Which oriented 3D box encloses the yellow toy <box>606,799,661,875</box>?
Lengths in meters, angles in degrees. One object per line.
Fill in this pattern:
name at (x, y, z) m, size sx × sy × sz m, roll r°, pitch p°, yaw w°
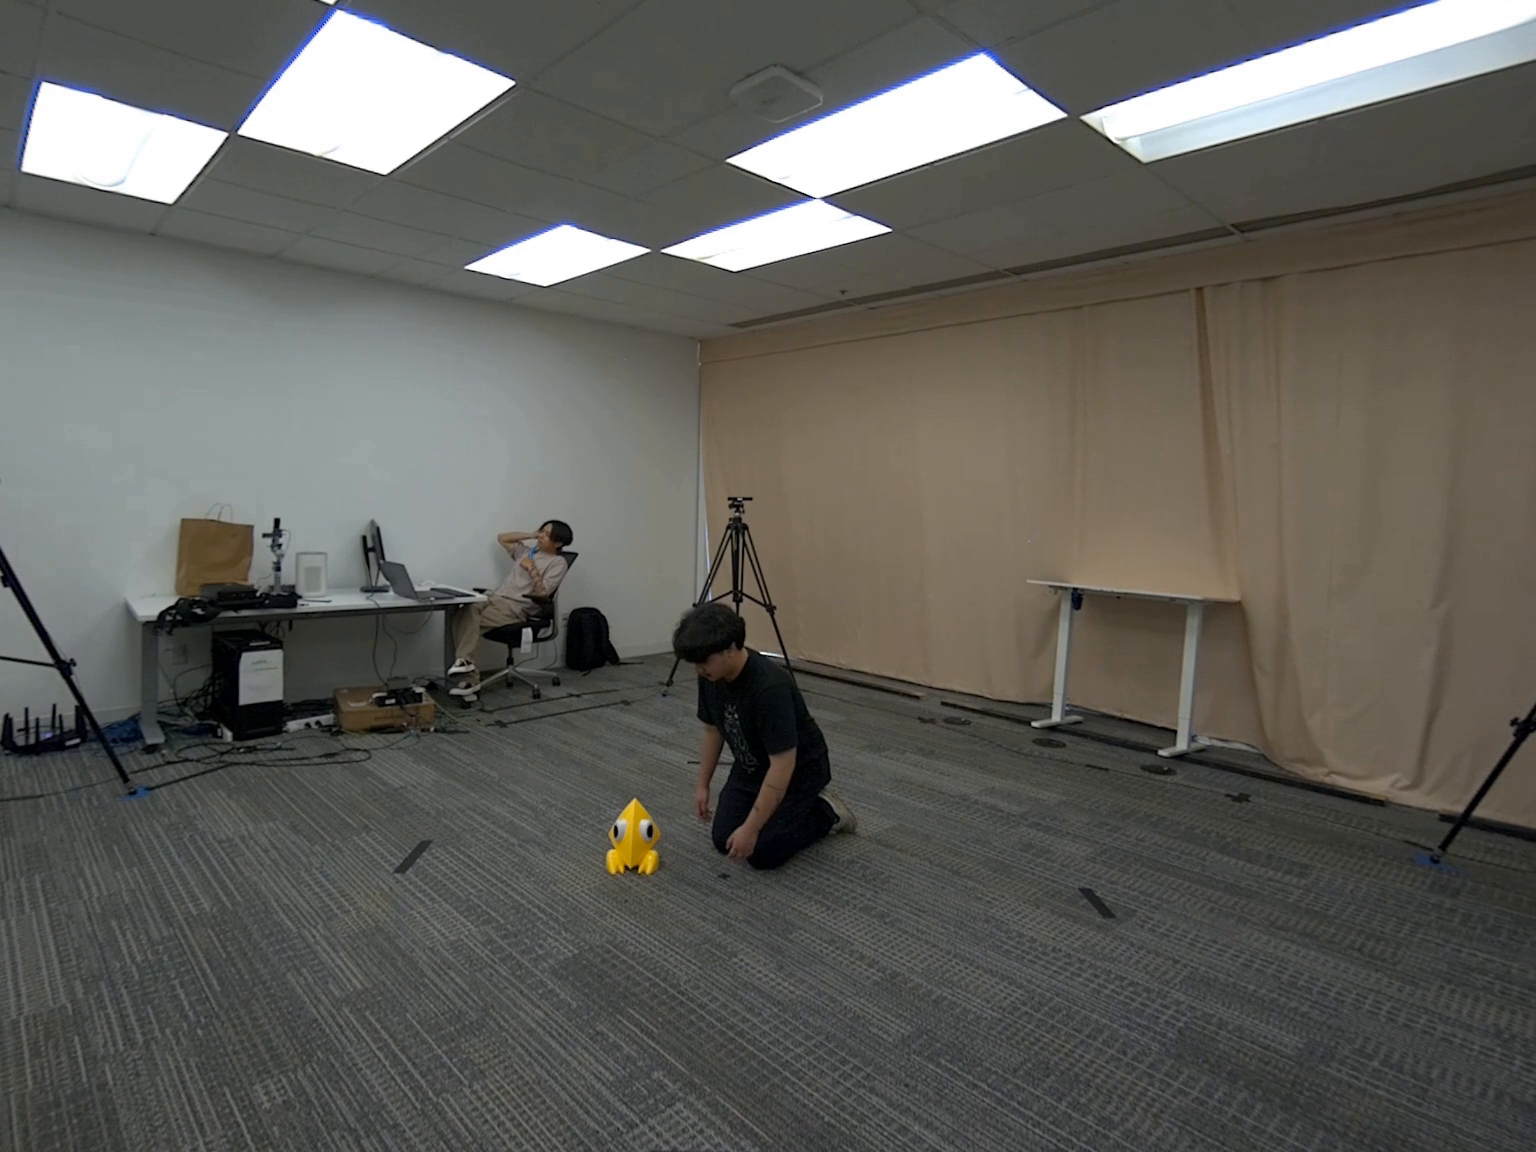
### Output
yellow toy at (-0.523, 0.980, 3.188) m, size 0.205 × 0.230 × 0.194 m, roll 0°, pitch 5°, yaw 0°
